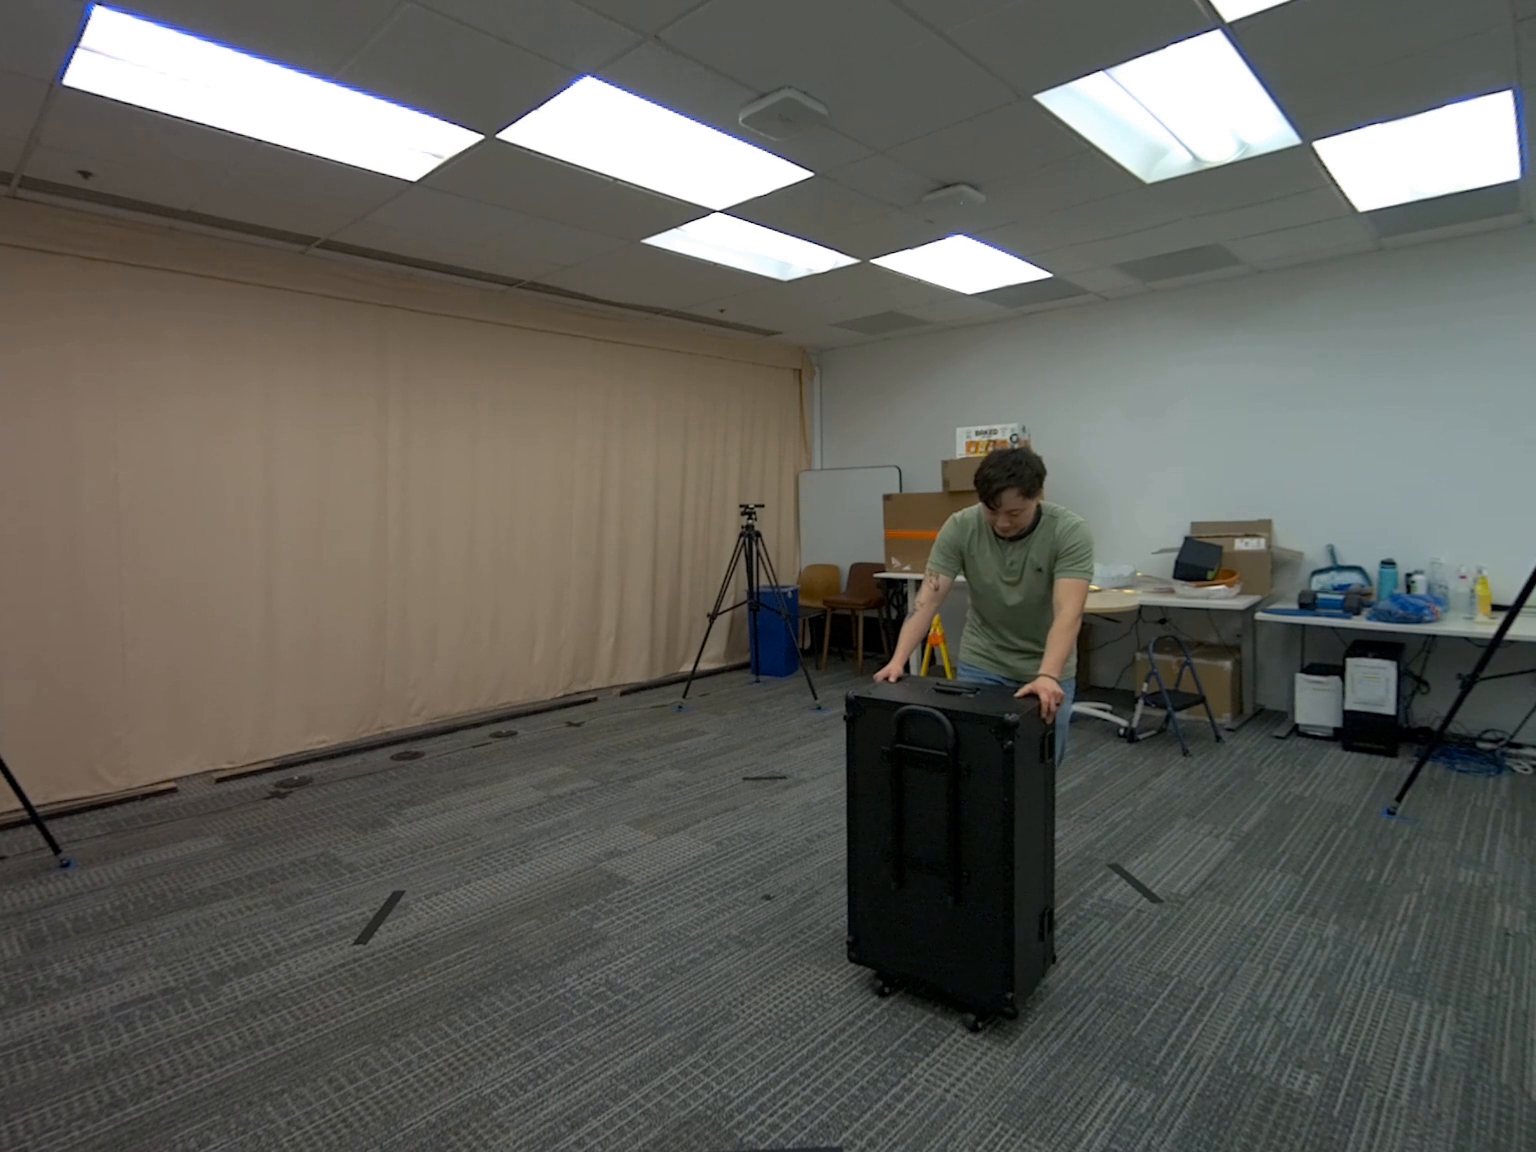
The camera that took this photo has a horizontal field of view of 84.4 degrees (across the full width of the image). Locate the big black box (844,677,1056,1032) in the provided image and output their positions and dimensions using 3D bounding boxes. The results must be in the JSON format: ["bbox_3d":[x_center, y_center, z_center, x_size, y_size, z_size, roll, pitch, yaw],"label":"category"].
[{"bbox_3d":[0.522,0.758,2.381,0.538,0.859,0.385,2,5,36],"label":"big black box"}]
